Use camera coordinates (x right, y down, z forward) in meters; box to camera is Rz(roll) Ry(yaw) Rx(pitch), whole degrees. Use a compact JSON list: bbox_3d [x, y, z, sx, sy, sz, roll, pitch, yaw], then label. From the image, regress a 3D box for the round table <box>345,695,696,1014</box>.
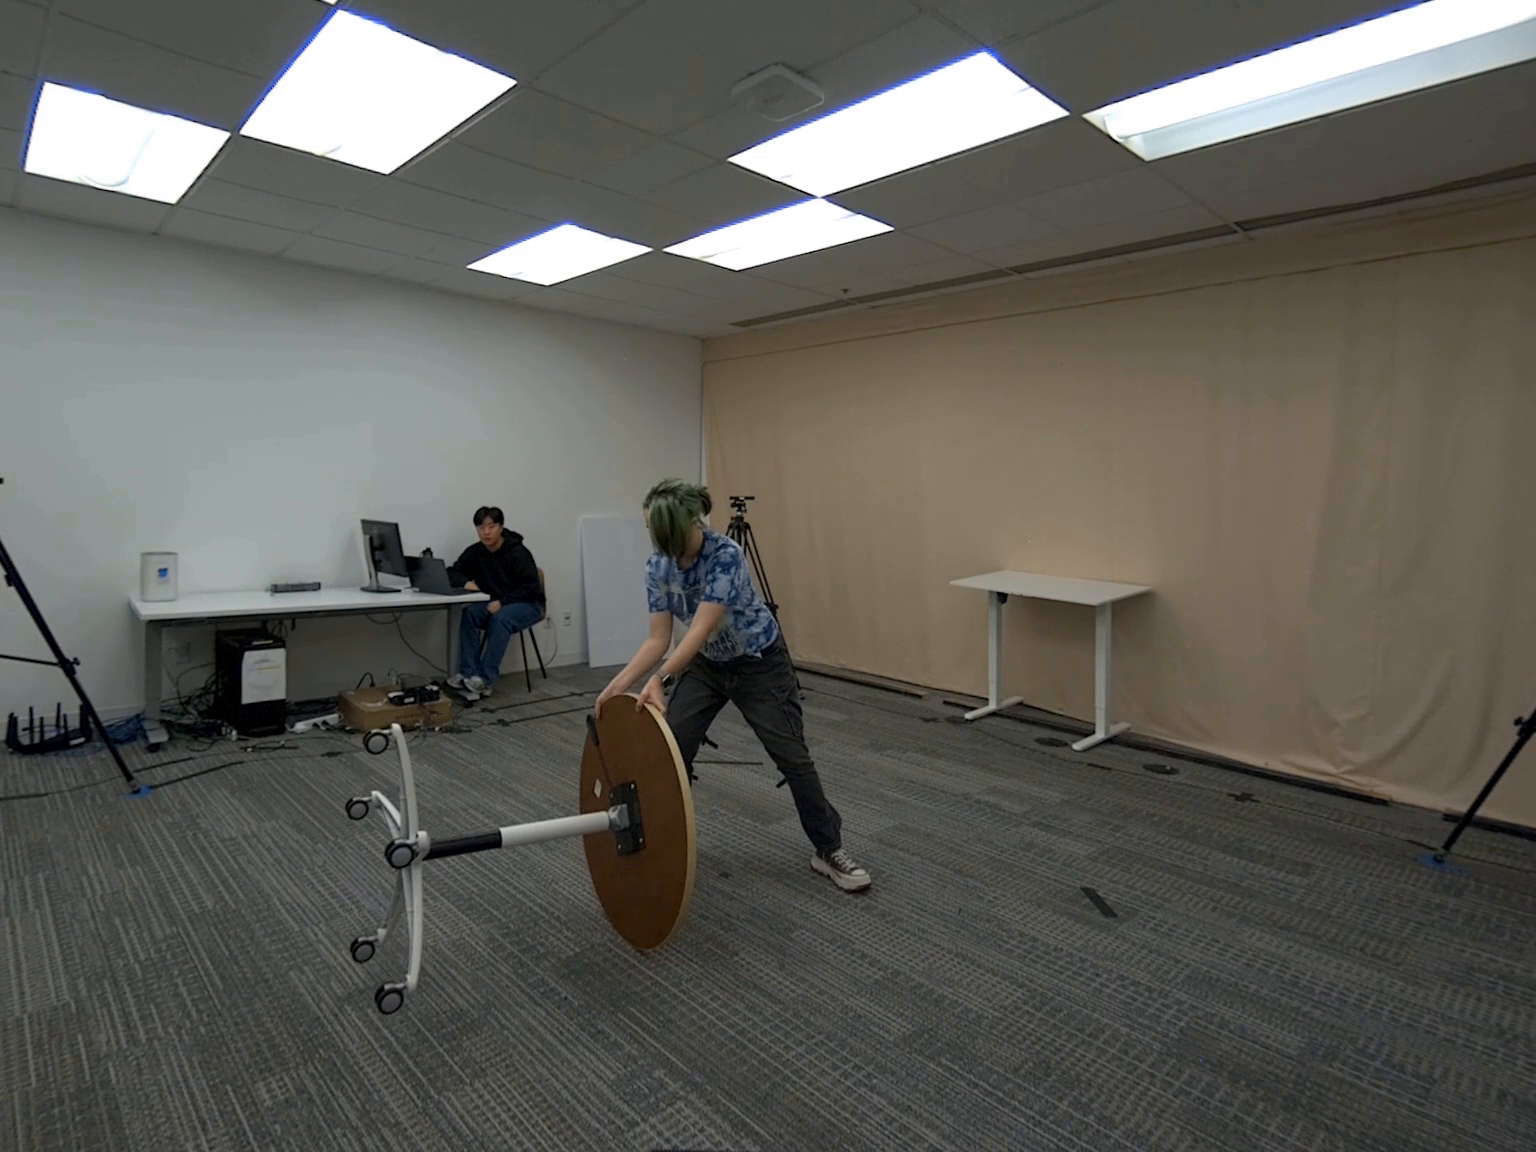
[{"bbox_3d":[-0.757,0.769,2.439,0.777,0.762,0.782,0,4,-34],"label":"round table"}]
